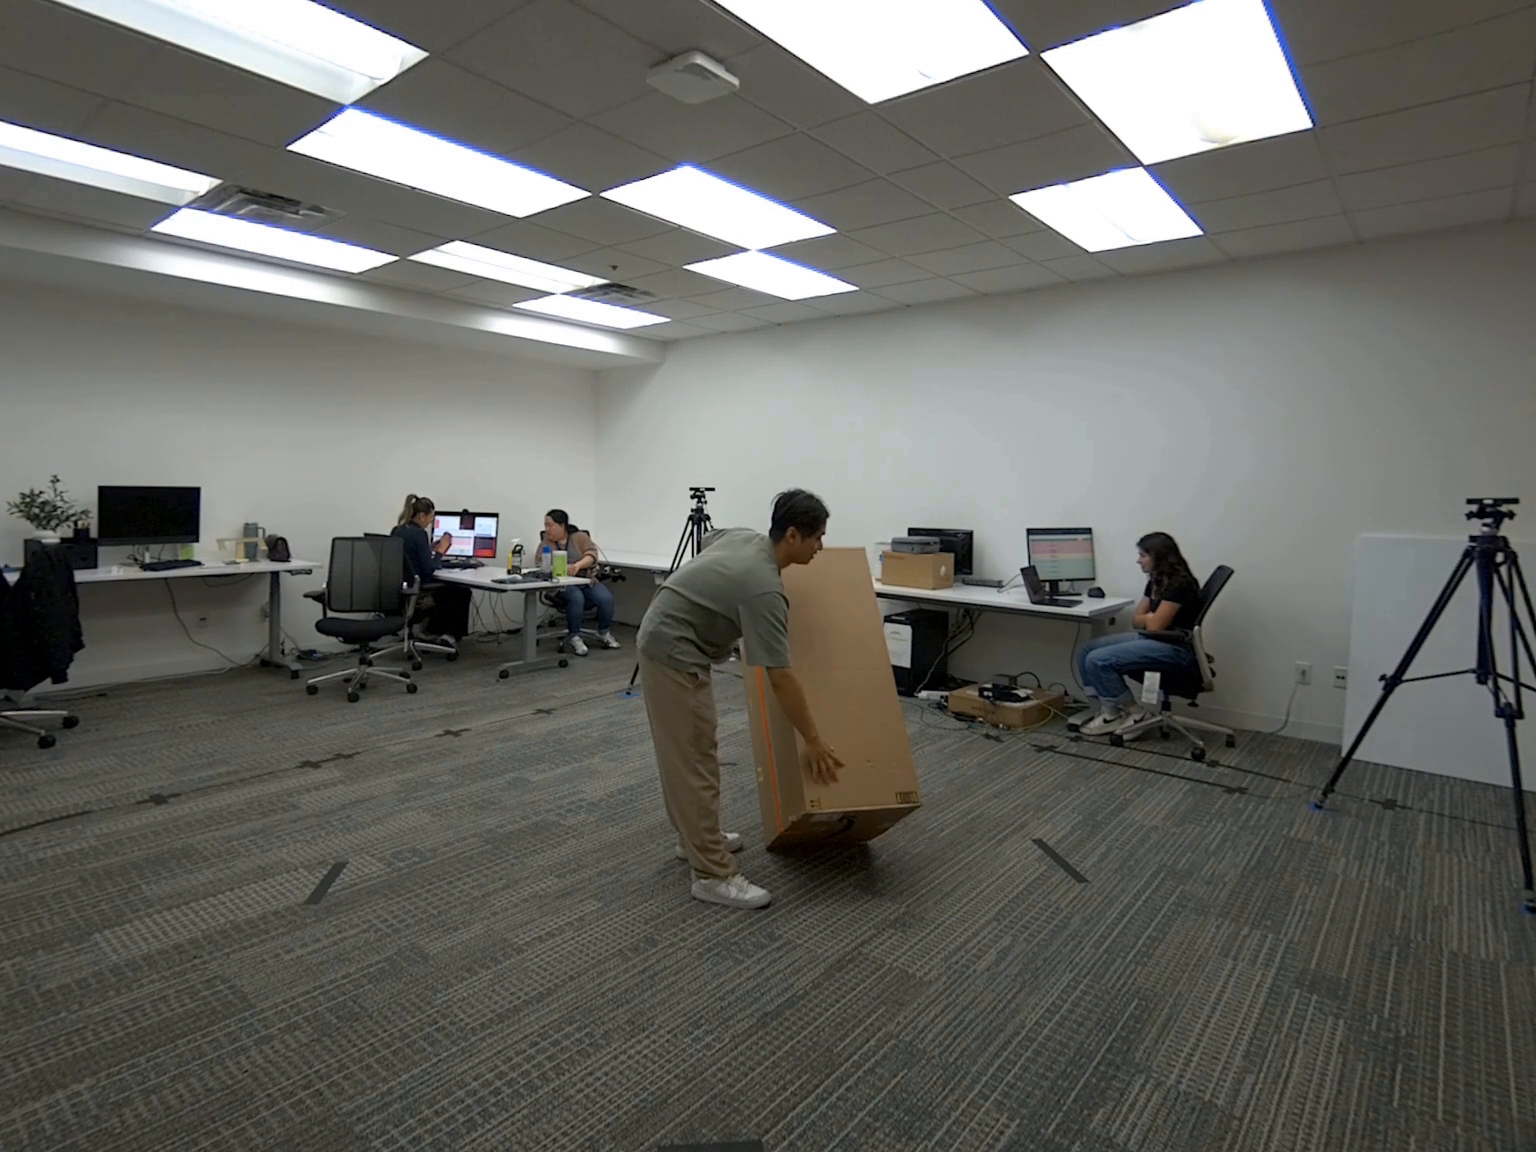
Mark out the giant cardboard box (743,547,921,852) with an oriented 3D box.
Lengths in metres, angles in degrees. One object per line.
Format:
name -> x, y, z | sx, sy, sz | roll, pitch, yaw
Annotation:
giant cardboard box -> 0.189, 0.474, 3.352 | 0.420, 1.055, 0.570 | 1, -30, -16
